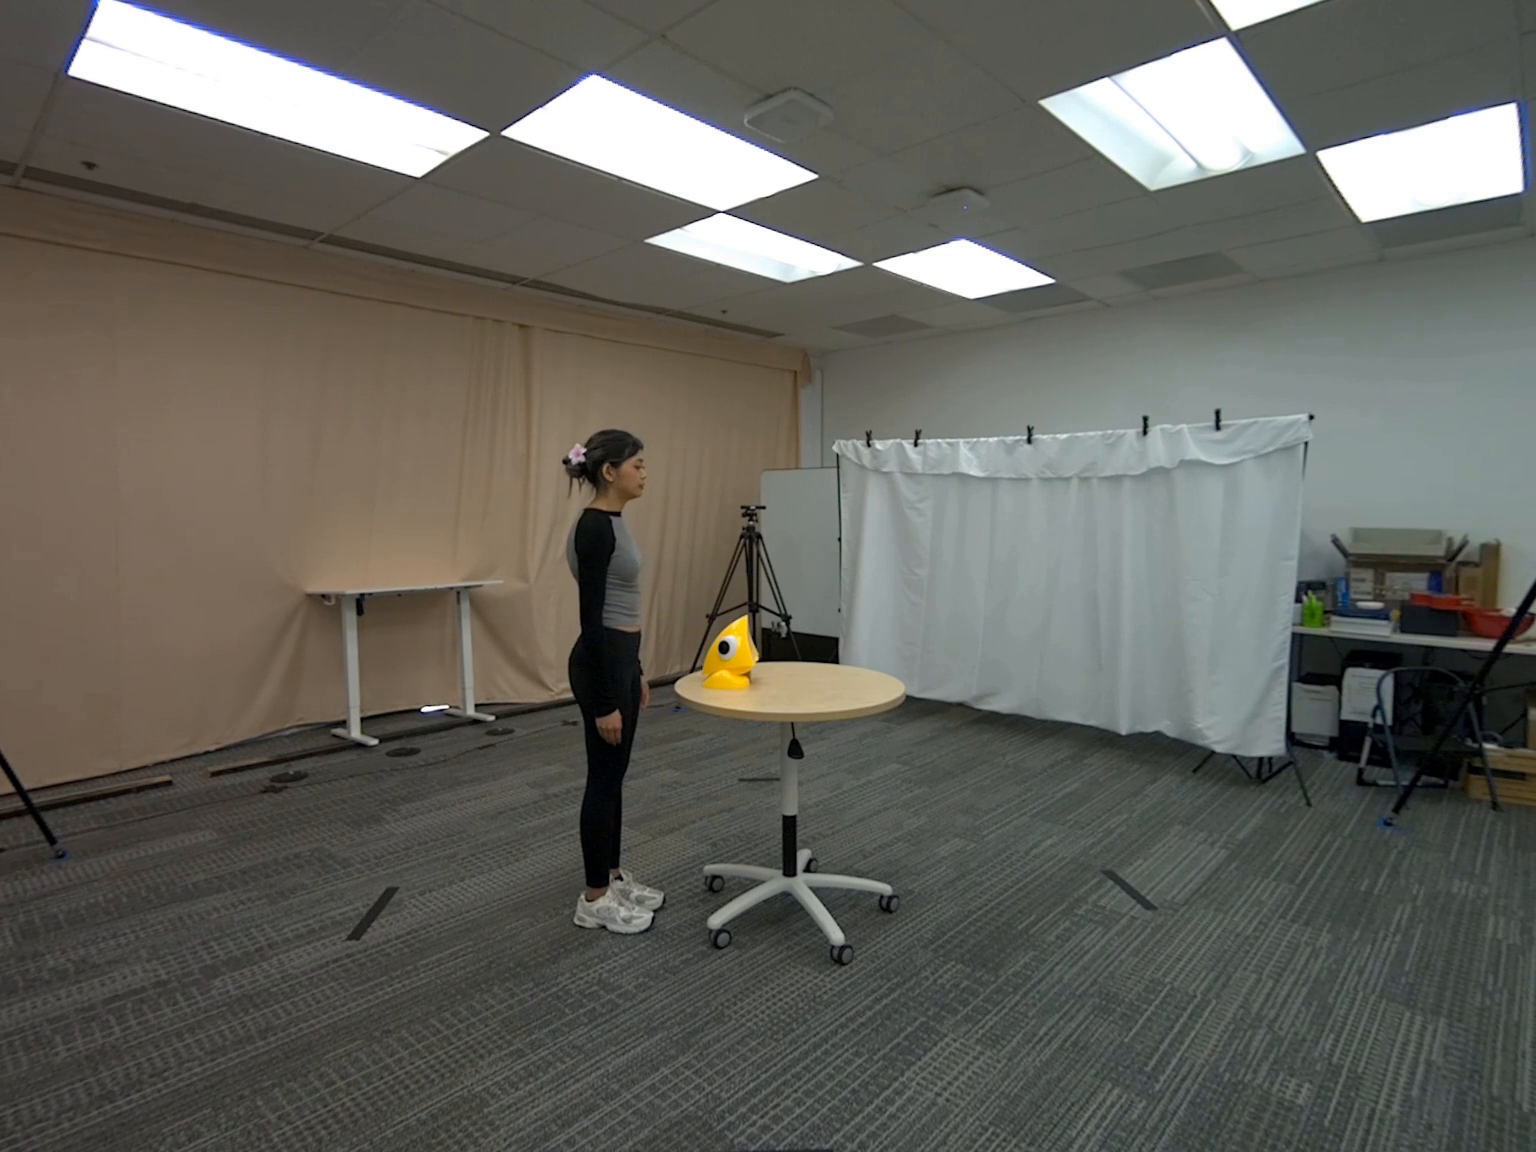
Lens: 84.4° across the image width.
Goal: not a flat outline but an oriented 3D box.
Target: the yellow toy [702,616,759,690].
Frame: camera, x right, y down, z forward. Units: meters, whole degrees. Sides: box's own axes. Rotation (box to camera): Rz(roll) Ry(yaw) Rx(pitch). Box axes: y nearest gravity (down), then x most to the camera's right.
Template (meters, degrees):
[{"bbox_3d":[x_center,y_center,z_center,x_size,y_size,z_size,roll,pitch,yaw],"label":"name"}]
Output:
[{"bbox_3d":[-0.127,0.249,2.846,0.194,0.230,0.204,0,5,4],"label":"yellow toy"}]
